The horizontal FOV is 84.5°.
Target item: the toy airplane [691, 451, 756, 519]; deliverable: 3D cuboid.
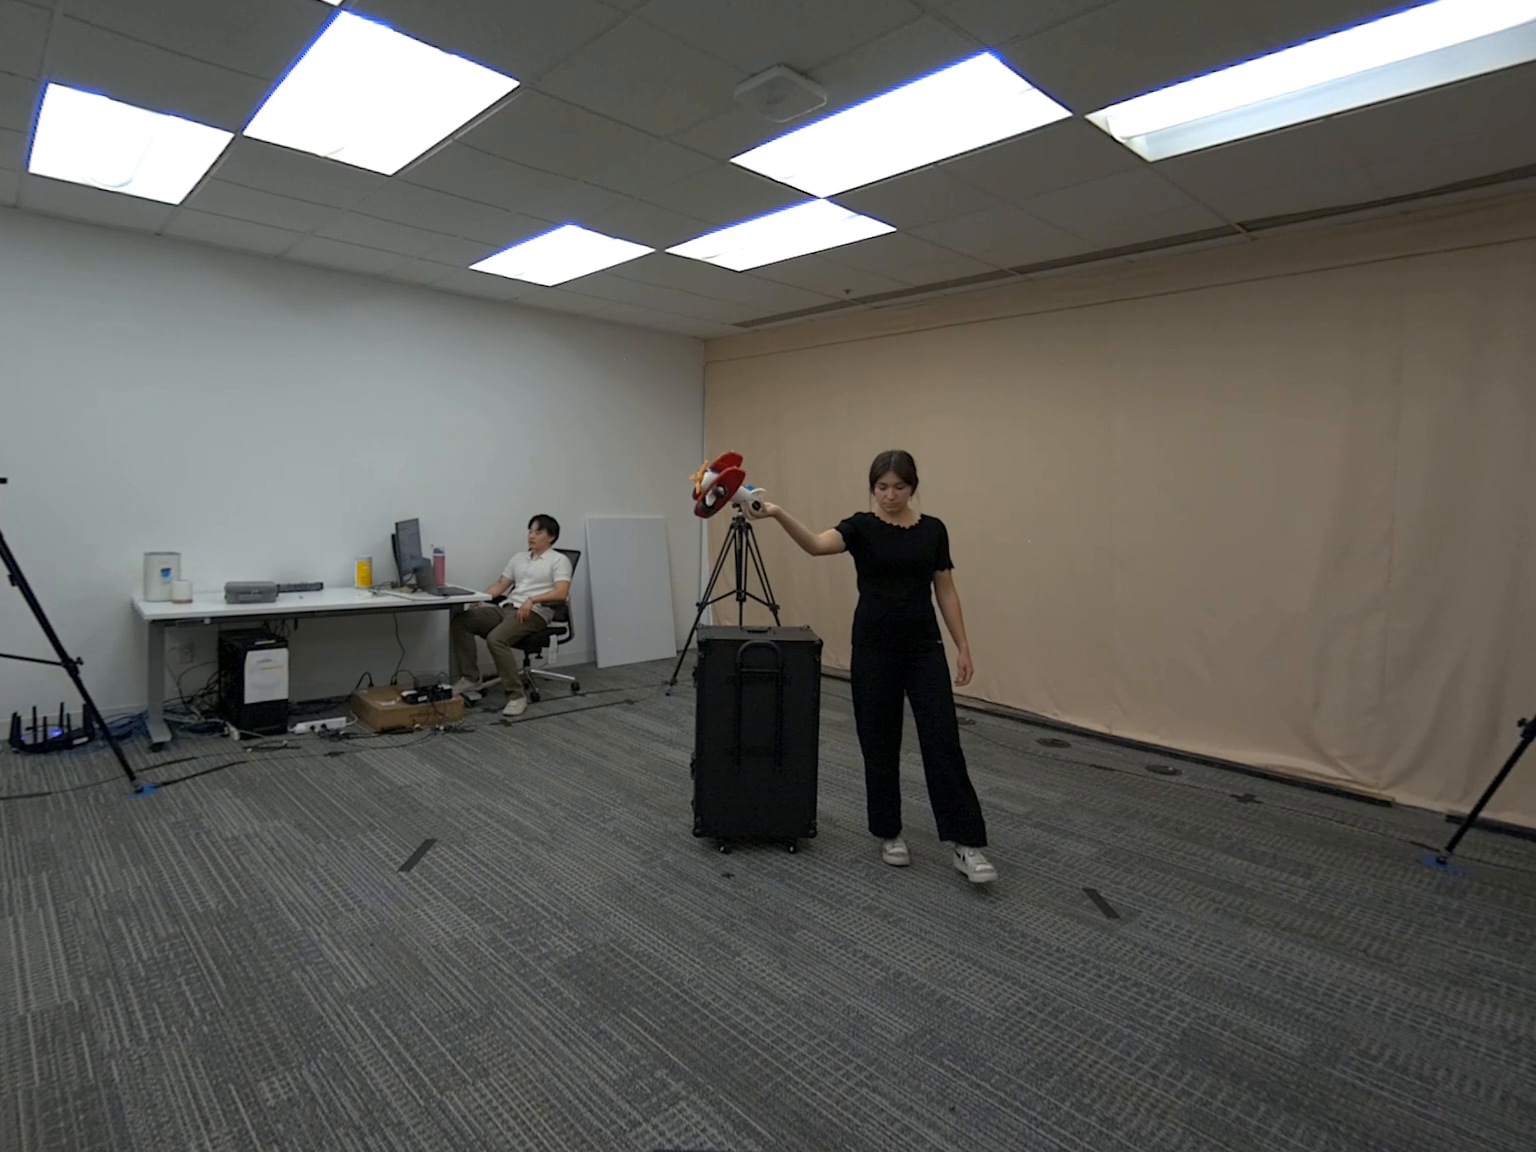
[{"bbox_3d":[-0.155,-0.286,2.934,0.252,0.160,0.251,-28,-30,13],"label":"toy airplane"}]
